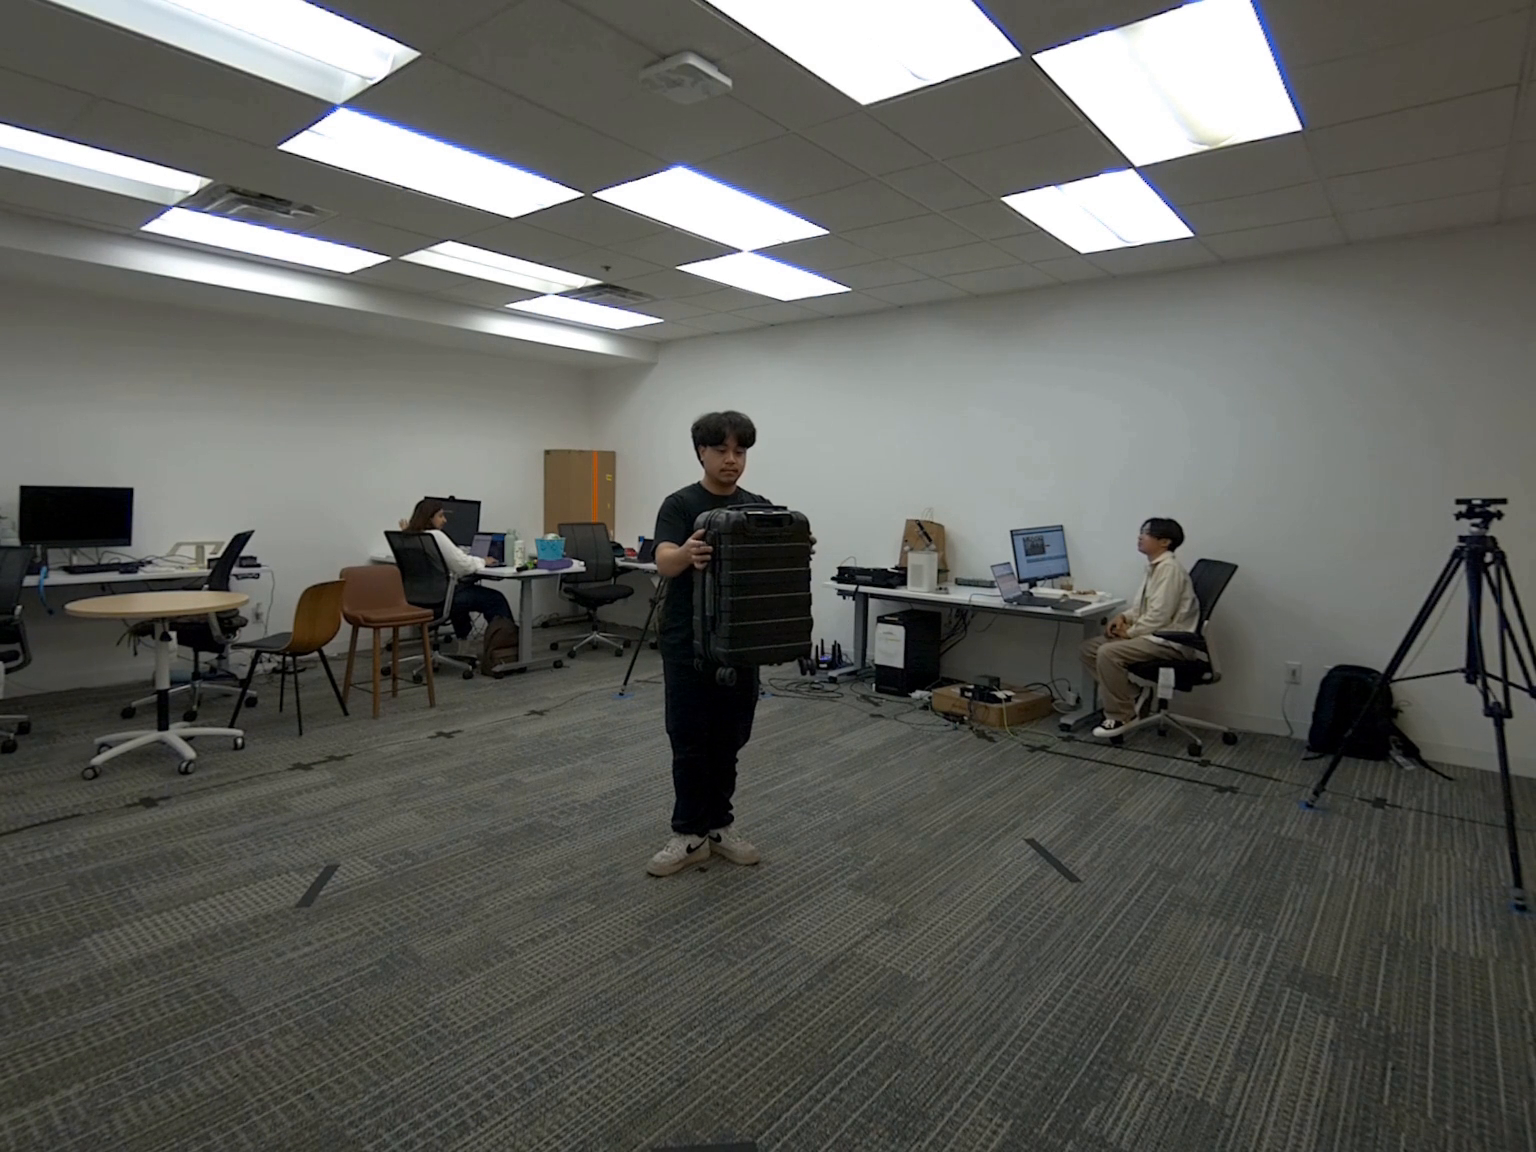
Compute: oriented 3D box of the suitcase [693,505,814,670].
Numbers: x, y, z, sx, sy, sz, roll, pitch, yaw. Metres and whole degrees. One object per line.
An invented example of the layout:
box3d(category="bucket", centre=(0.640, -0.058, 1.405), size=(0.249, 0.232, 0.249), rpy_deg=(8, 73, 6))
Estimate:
box3d(category="suitcase", centre=(-0.062, 0.039, 2.789), size=(0.365, 0.548, 0.255), rpy_deg=(-3, 3, -31))
